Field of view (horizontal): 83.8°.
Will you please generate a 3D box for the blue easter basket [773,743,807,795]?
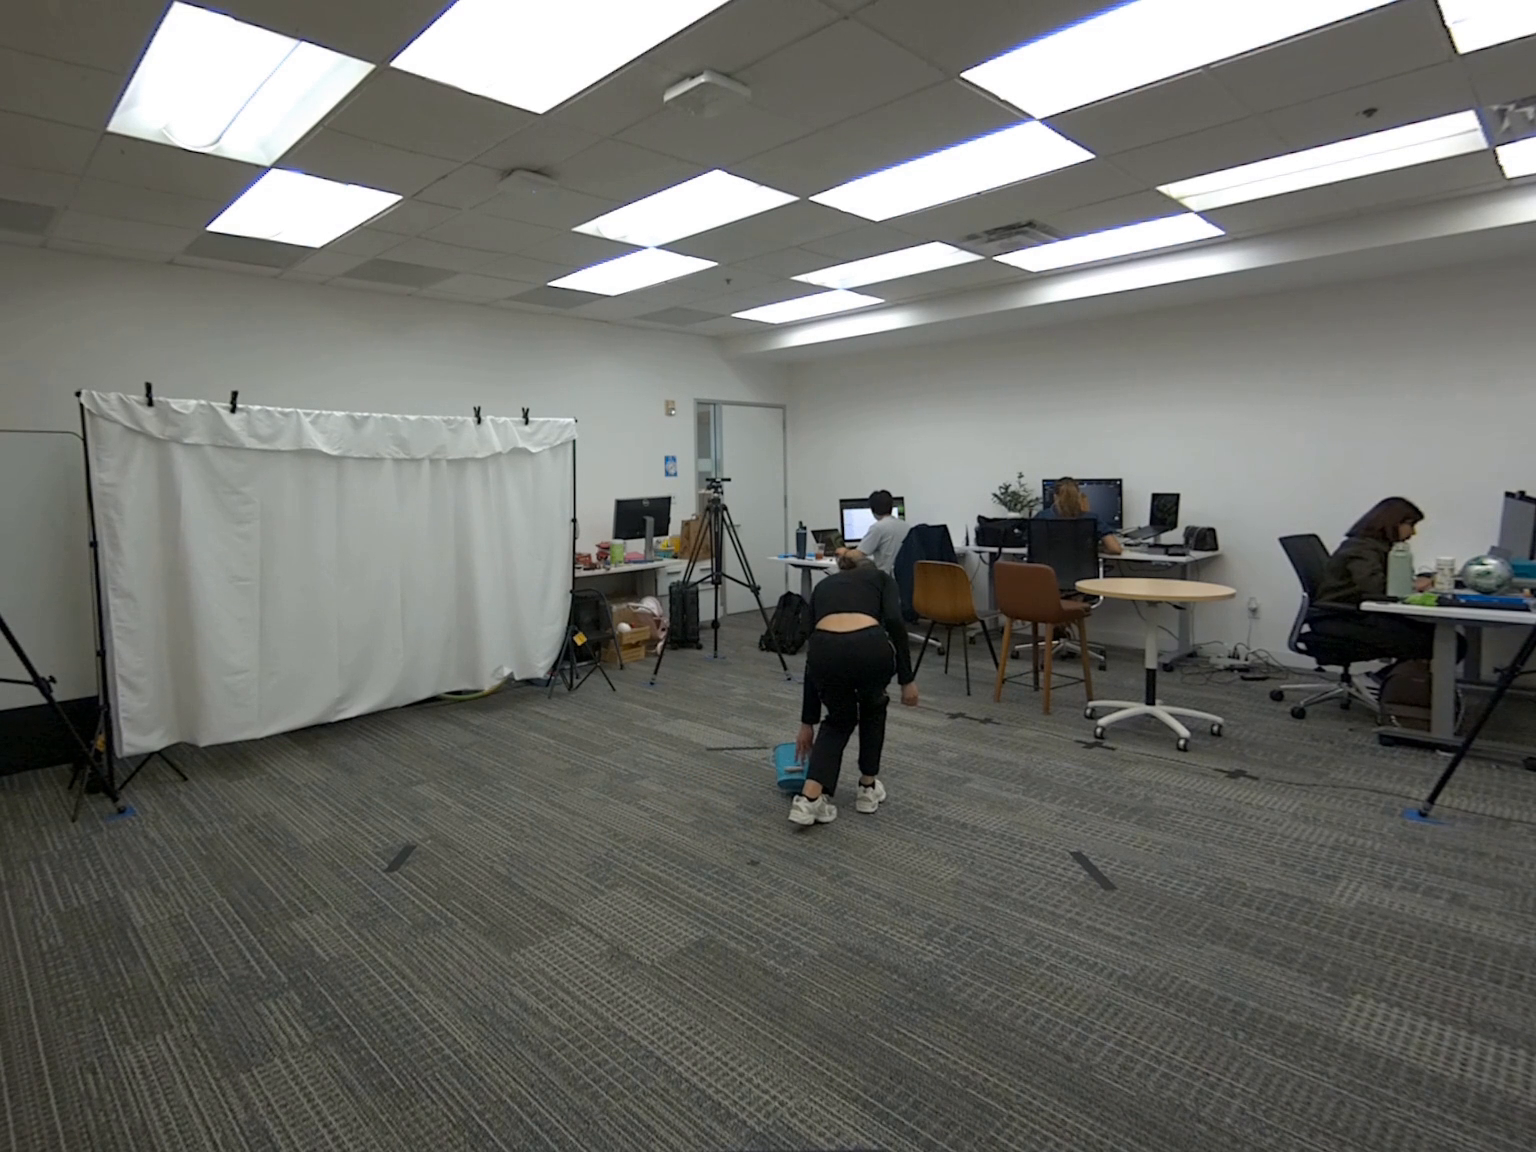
[{"bbox_3d":[0.136,0.851,3.782,0.244,0.159,0.238,5,-33,2],"label":"blue easter basket"}]
